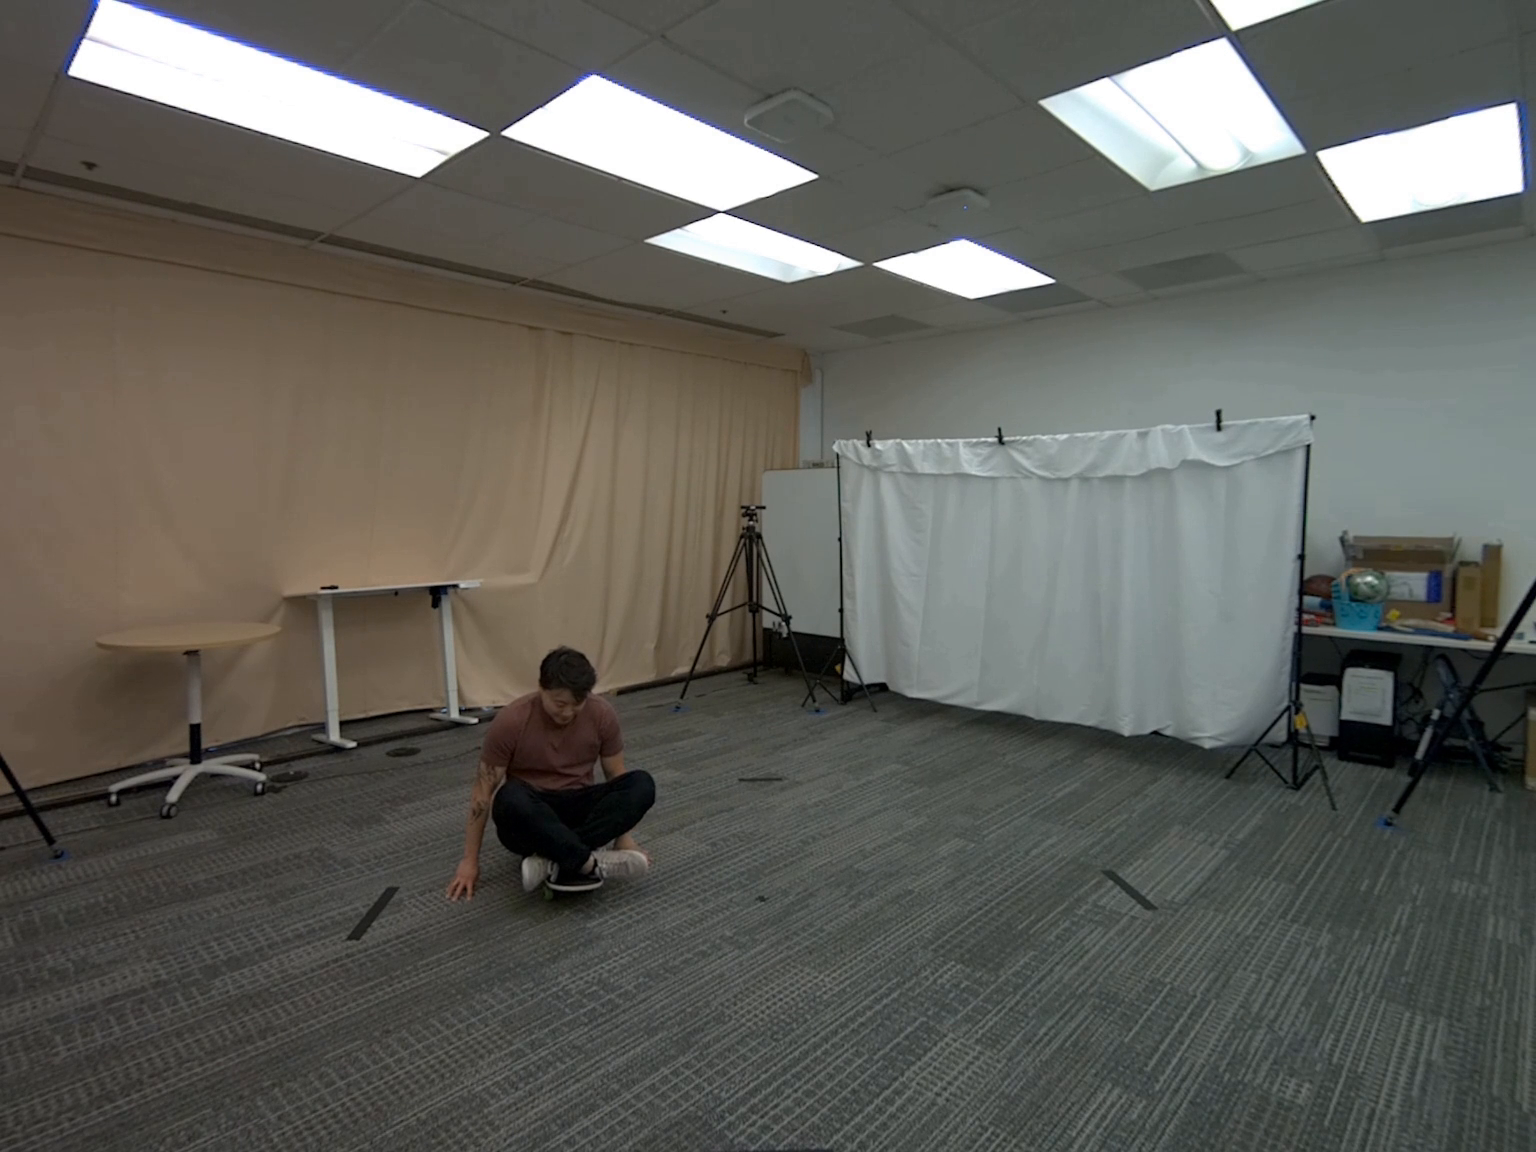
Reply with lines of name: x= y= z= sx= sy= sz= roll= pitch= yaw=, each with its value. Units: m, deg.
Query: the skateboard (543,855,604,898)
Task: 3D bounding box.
skateboard: x=-0.803 y=1.074 z=3.212 sx=0.188 sy=0.110 sz=0.809 roll=3 pitch=2 yaw=-32
